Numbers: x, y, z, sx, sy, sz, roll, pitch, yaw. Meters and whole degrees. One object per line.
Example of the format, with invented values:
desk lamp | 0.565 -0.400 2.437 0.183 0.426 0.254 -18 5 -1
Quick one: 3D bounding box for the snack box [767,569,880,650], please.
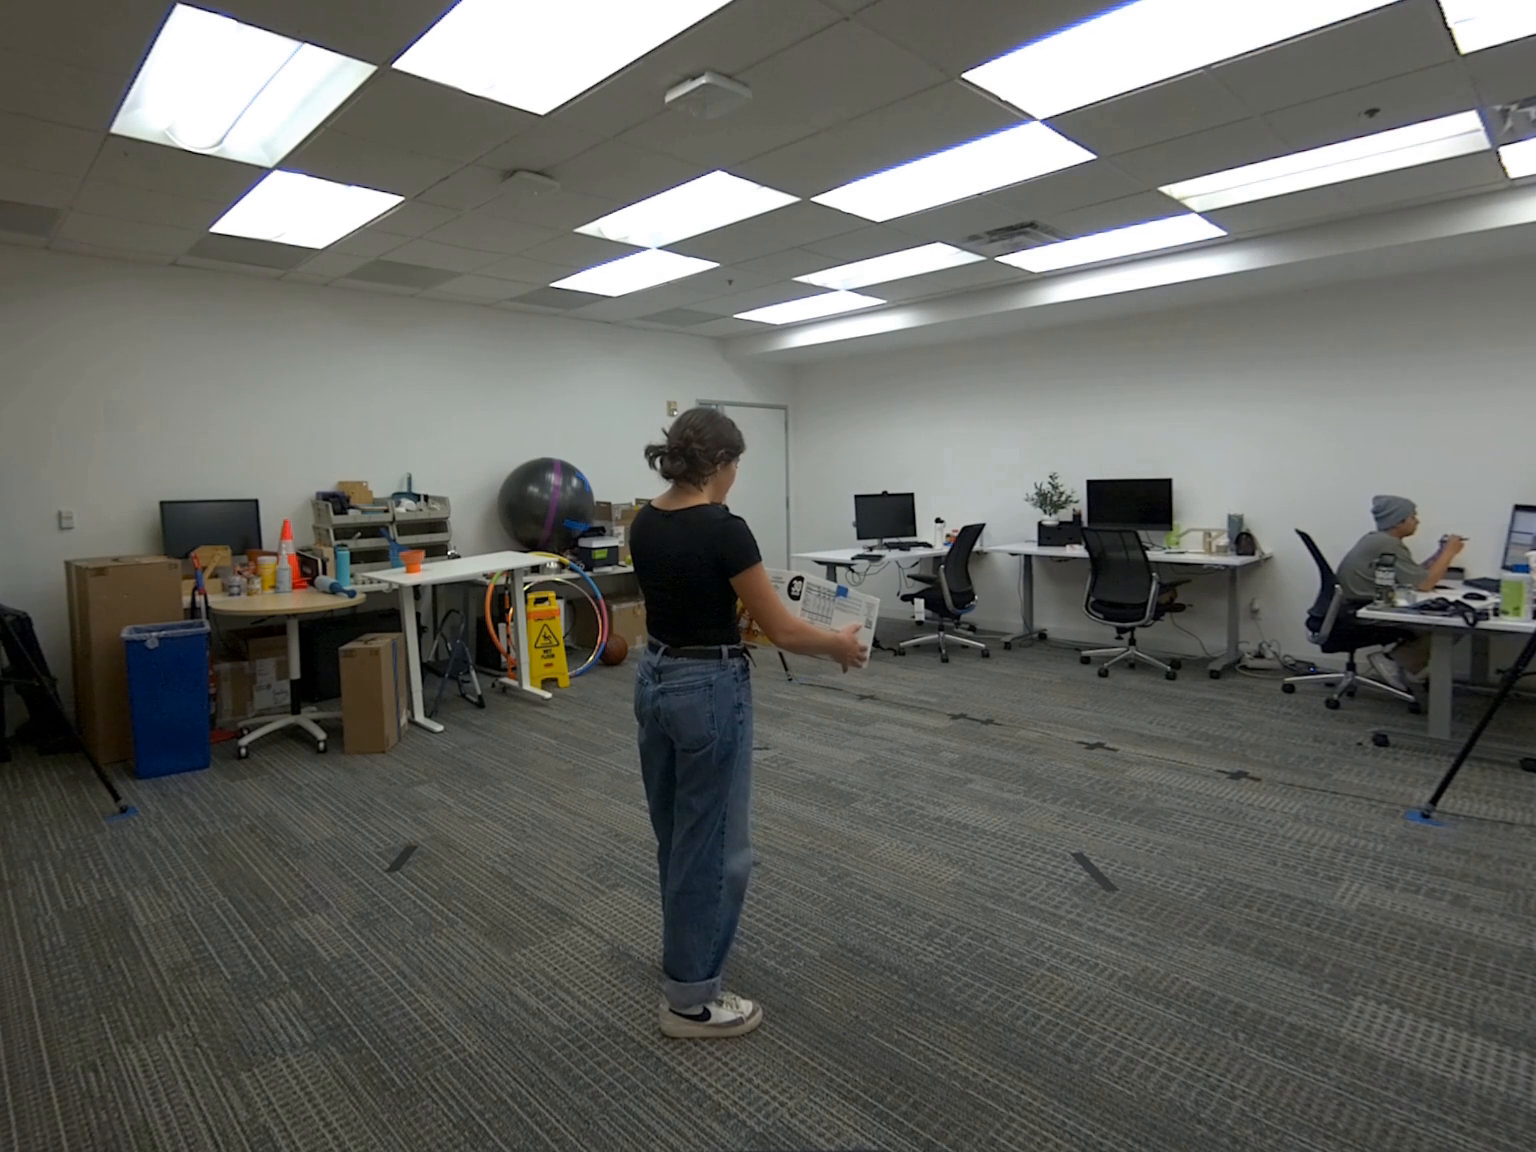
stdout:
snack box | 0.041 0.109 2.416 0.418 0.207 0.328 6 -9 44
